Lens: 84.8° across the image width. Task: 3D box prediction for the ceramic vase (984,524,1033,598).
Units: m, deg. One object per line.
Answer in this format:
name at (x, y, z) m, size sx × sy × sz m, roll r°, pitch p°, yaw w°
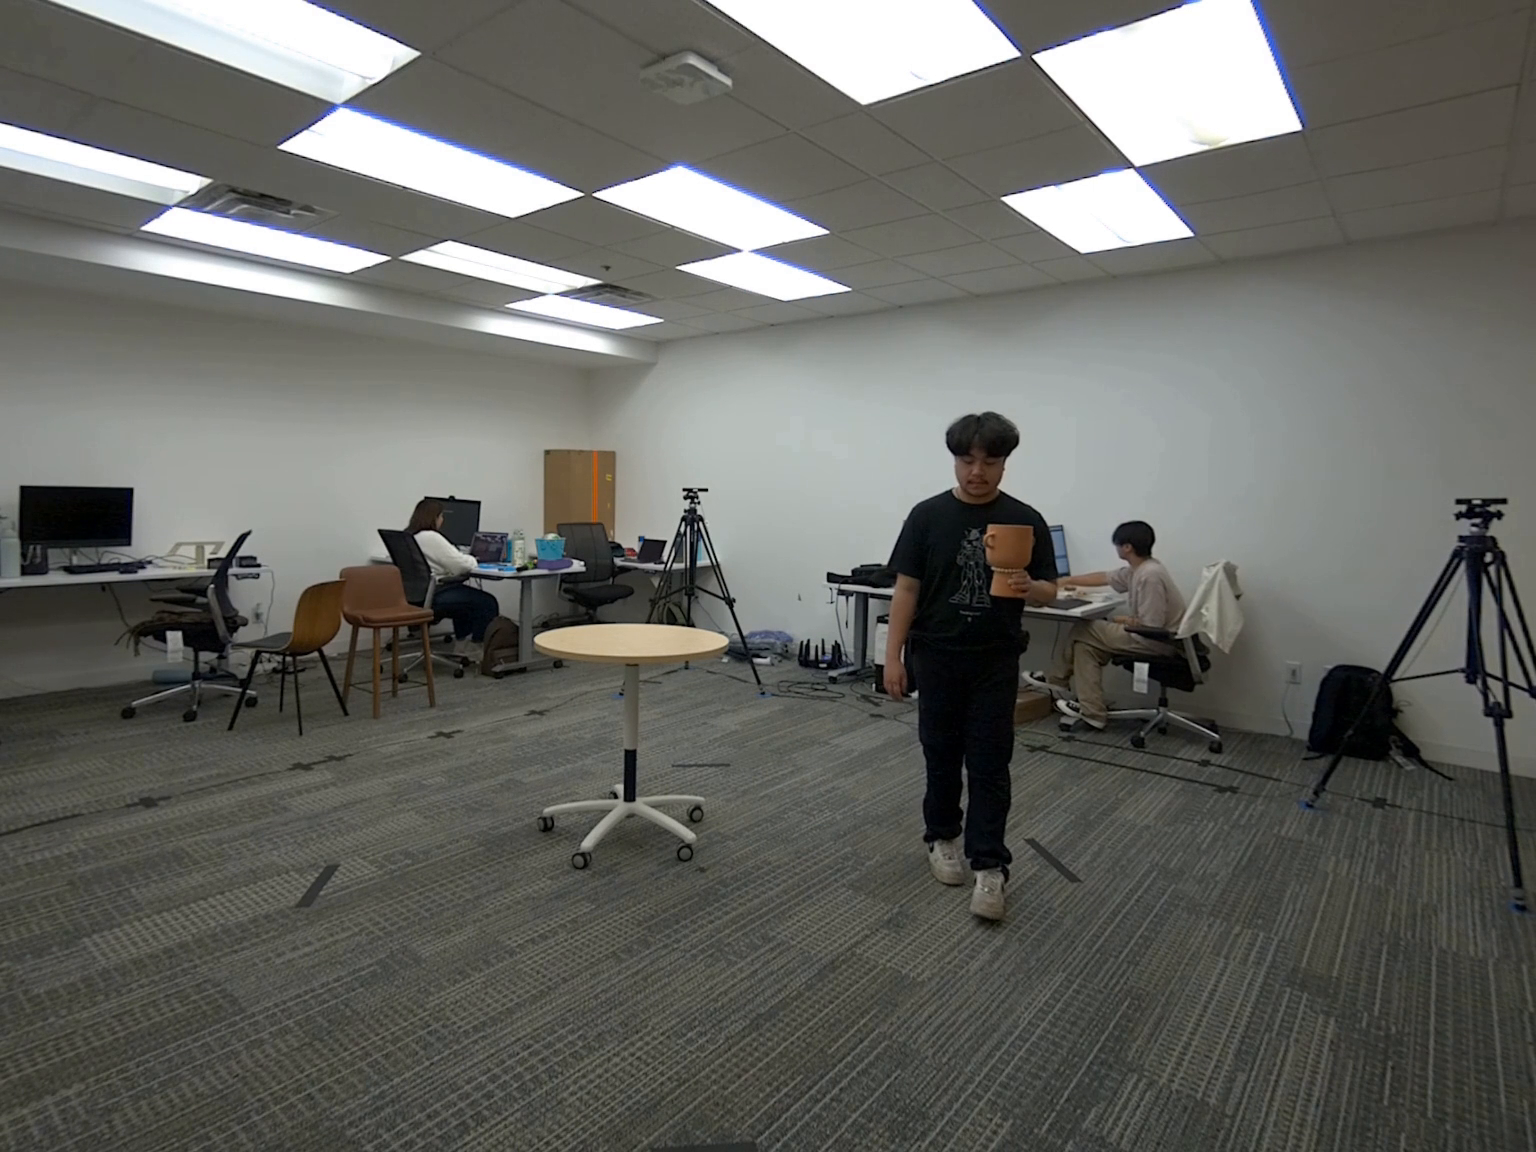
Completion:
ceramic vase at (0.751, -0.051, 2.653) m, size 0.161 × 0.219 × 0.133 m, roll 4°, pitch 3°, yaw 14°
